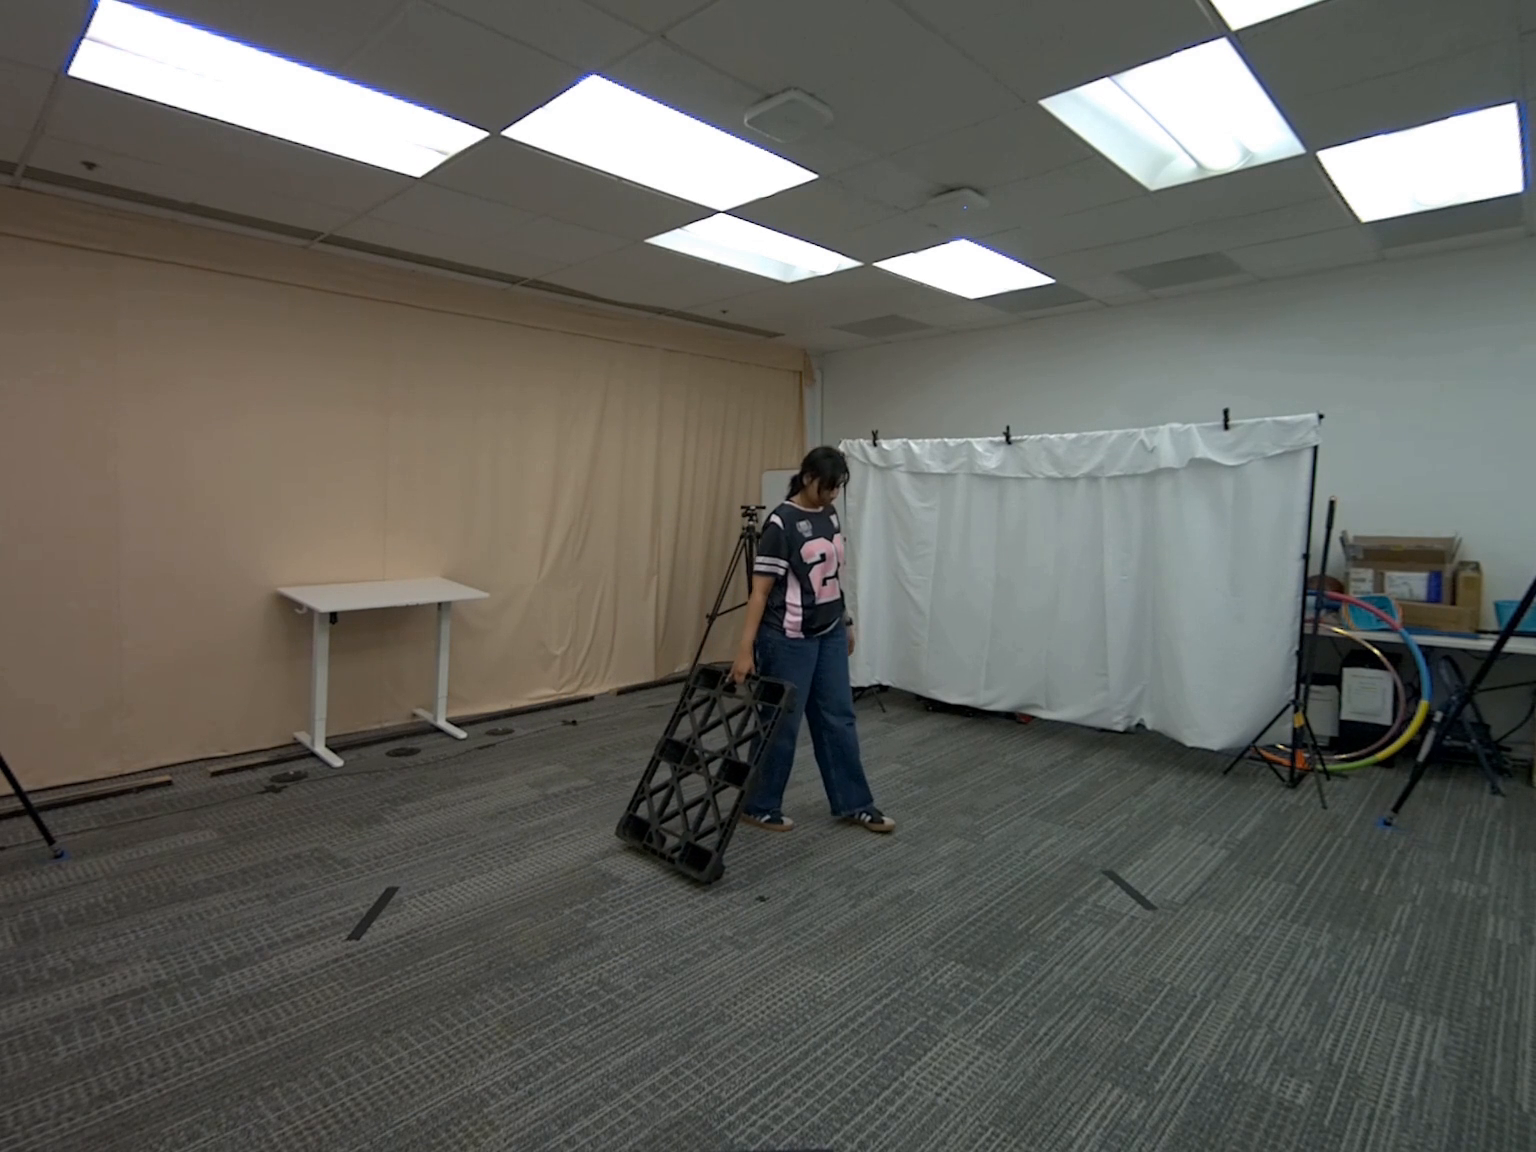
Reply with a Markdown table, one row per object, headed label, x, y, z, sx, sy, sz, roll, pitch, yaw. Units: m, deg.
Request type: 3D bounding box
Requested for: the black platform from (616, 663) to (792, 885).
| label | x | y | z | sx | sy | sz | roll | pitch | yaw |
| --- | --- | --- | --- | --- | --- | --- | --- | --- | --- |
| black platform | -0.226 | 0.770 | 3.397 | 0.625 | 0.807 | 0.138 | 4 | -28 | 49 |
